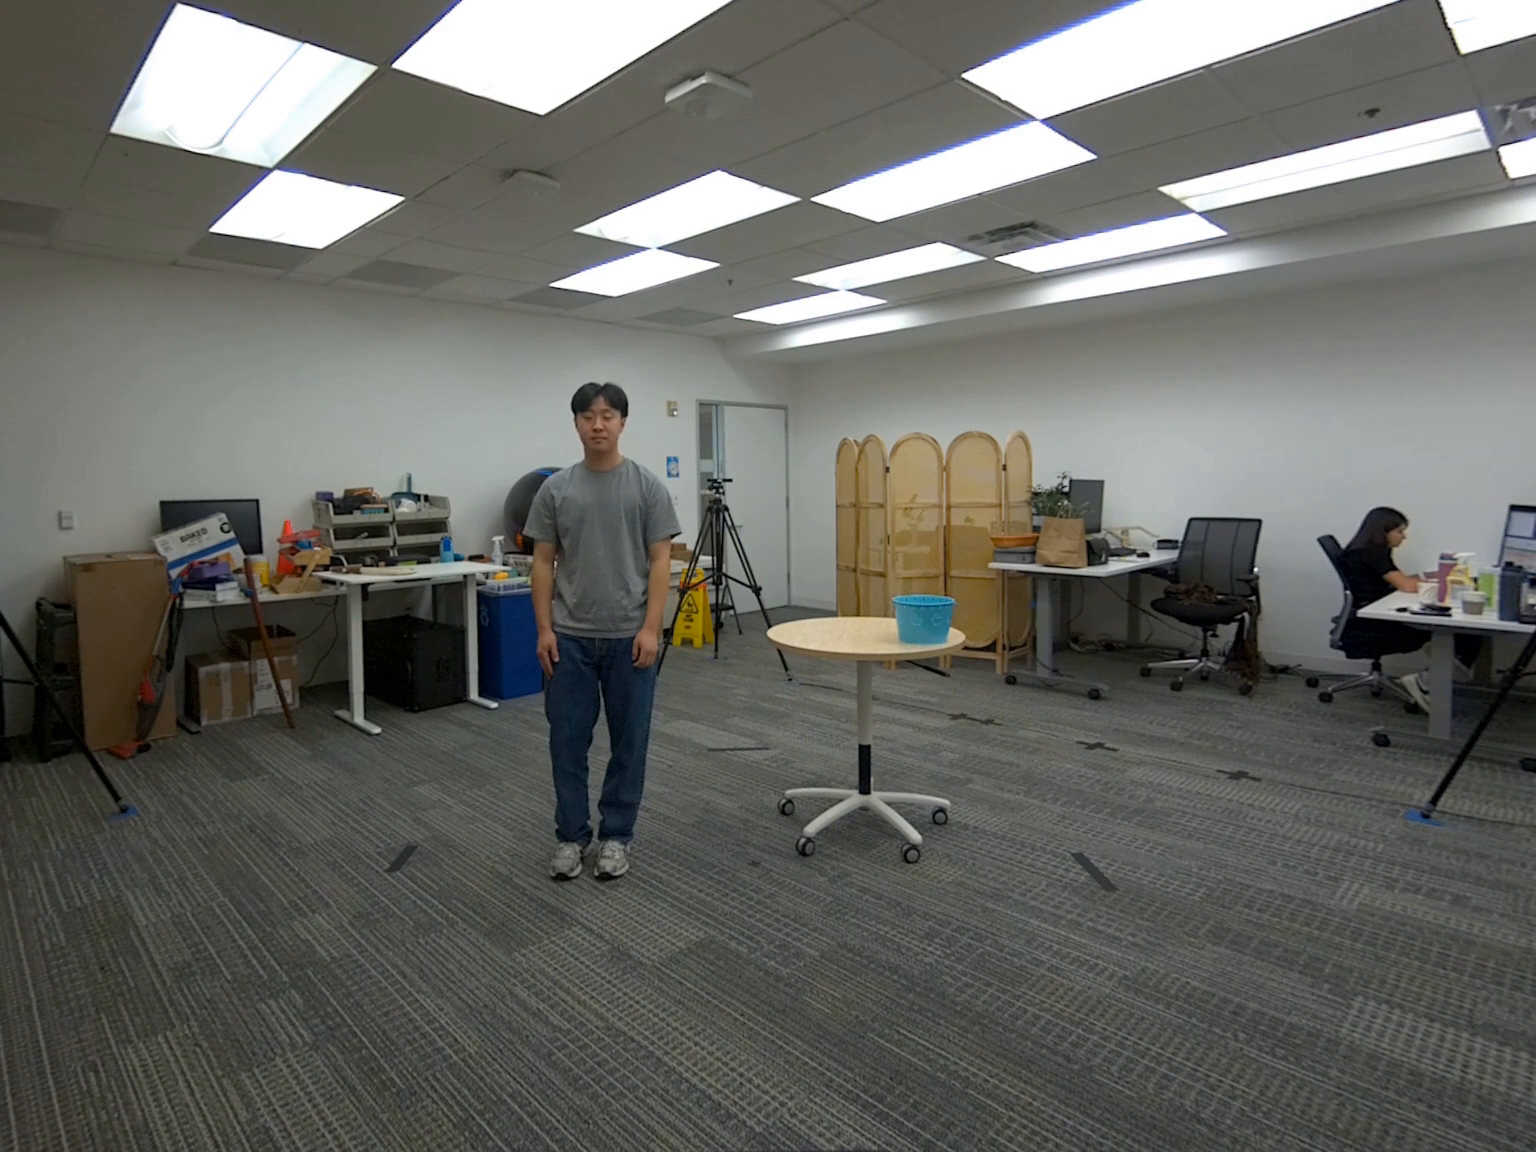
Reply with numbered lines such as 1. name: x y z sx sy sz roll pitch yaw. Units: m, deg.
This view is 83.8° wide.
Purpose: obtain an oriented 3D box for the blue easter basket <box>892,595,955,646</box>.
1. blue easter basket: 0.589 0.164 3.217 0.243 0.155 0.245 -1 5 -2
